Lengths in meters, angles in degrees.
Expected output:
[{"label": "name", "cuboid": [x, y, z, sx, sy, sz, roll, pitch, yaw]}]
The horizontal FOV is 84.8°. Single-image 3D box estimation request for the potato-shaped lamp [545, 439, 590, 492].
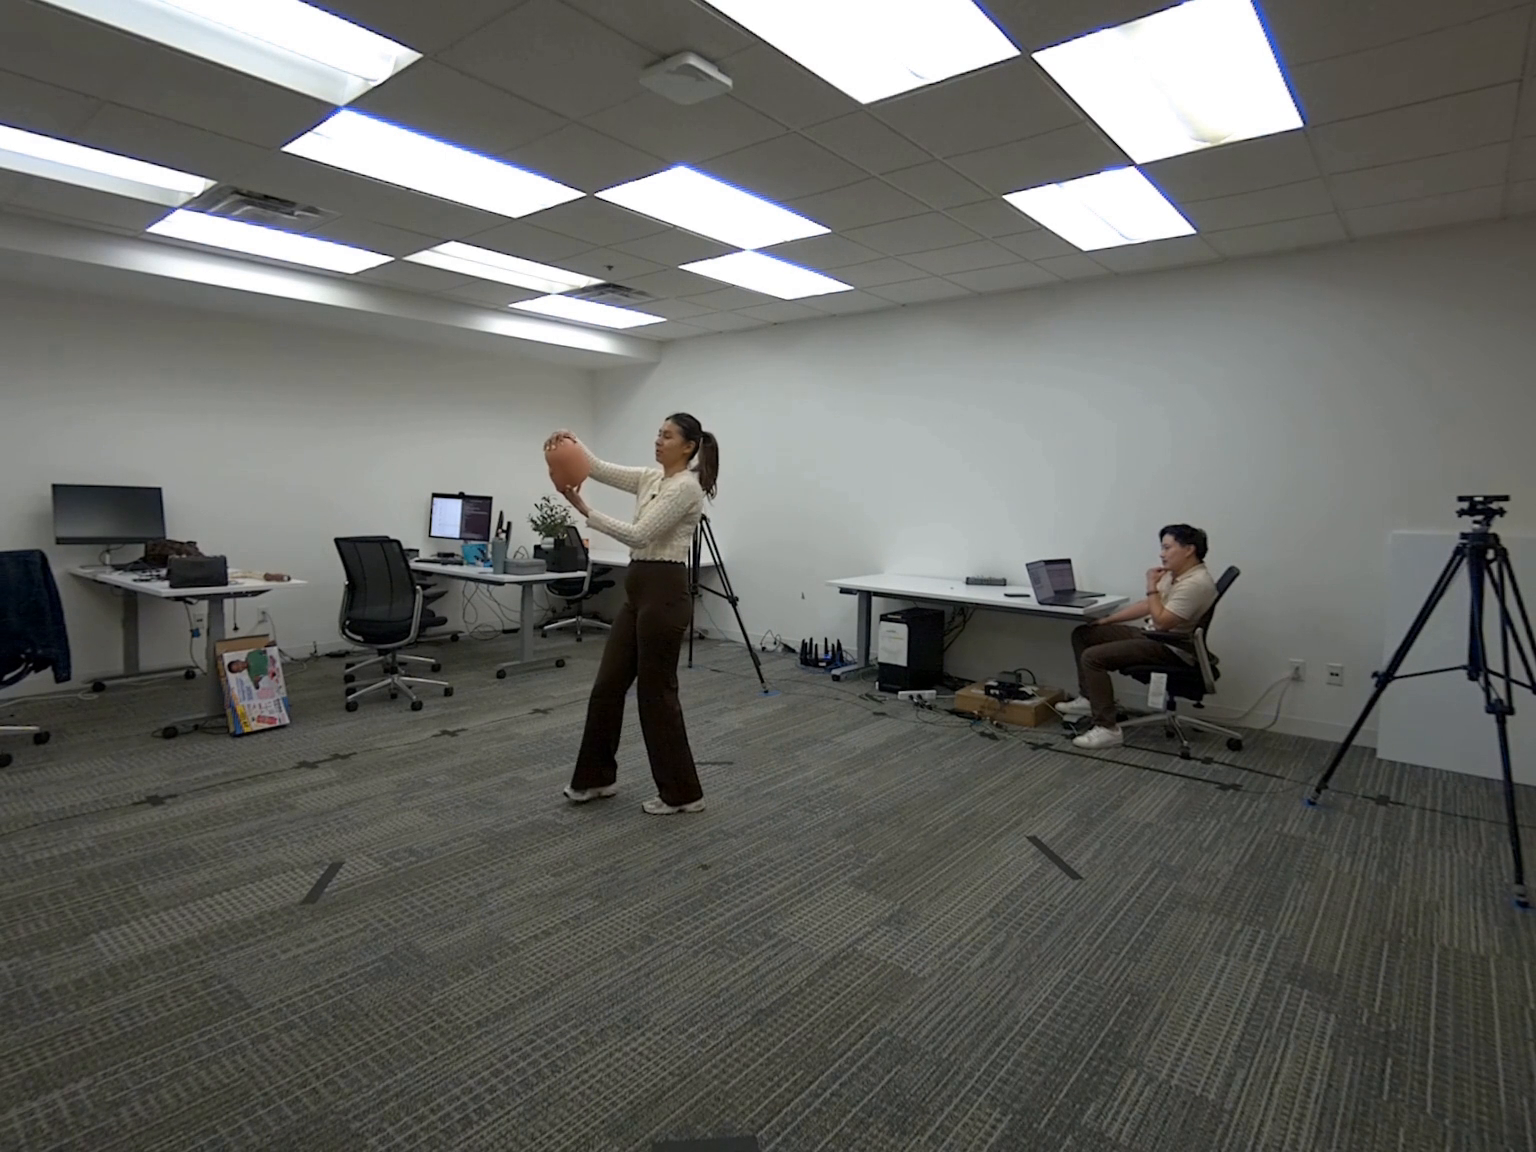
[{"label": "potato-shaped lamp", "cuboid": [-0.831, -0.469, 3.418, 0.165, 0.192, 0.177, -12, 36, -1]}]
